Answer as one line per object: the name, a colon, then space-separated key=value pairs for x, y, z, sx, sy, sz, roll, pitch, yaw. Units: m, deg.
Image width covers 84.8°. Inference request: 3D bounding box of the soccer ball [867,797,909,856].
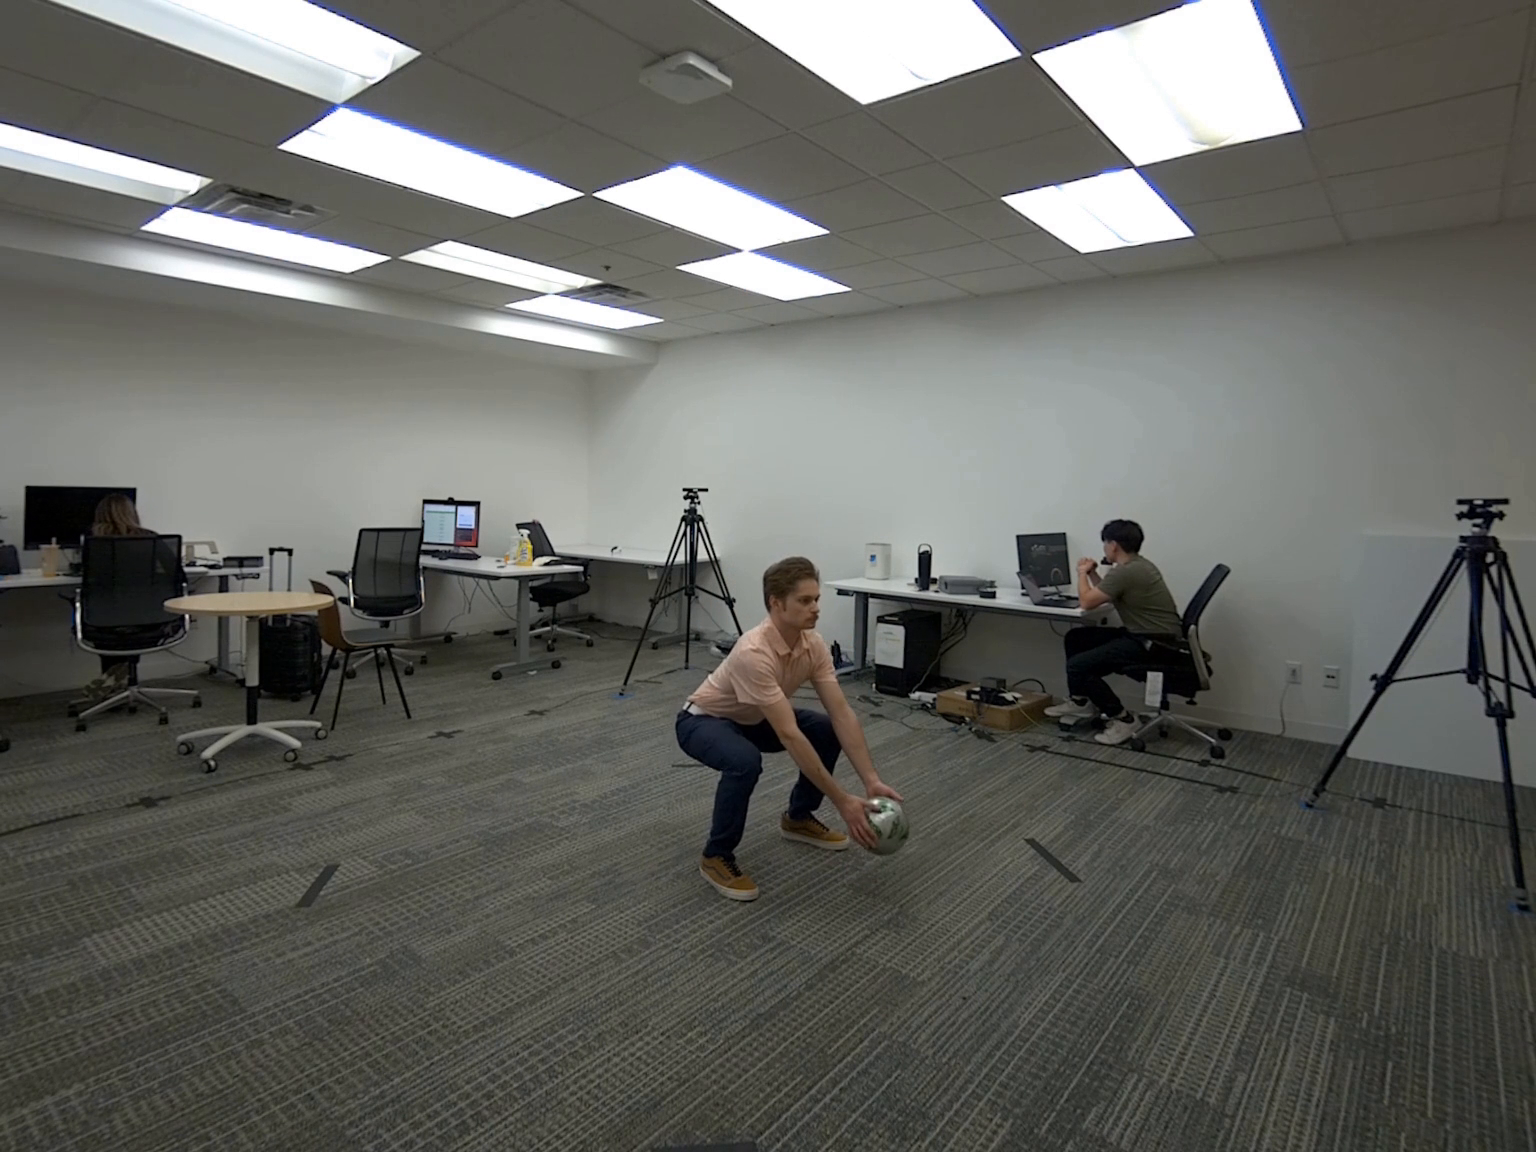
soccer ball: x=0.371 y=0.834 z=2.863 sx=0.187 sy=0.187 sz=0.188 roll=1 pitch=4 yaw=-2
